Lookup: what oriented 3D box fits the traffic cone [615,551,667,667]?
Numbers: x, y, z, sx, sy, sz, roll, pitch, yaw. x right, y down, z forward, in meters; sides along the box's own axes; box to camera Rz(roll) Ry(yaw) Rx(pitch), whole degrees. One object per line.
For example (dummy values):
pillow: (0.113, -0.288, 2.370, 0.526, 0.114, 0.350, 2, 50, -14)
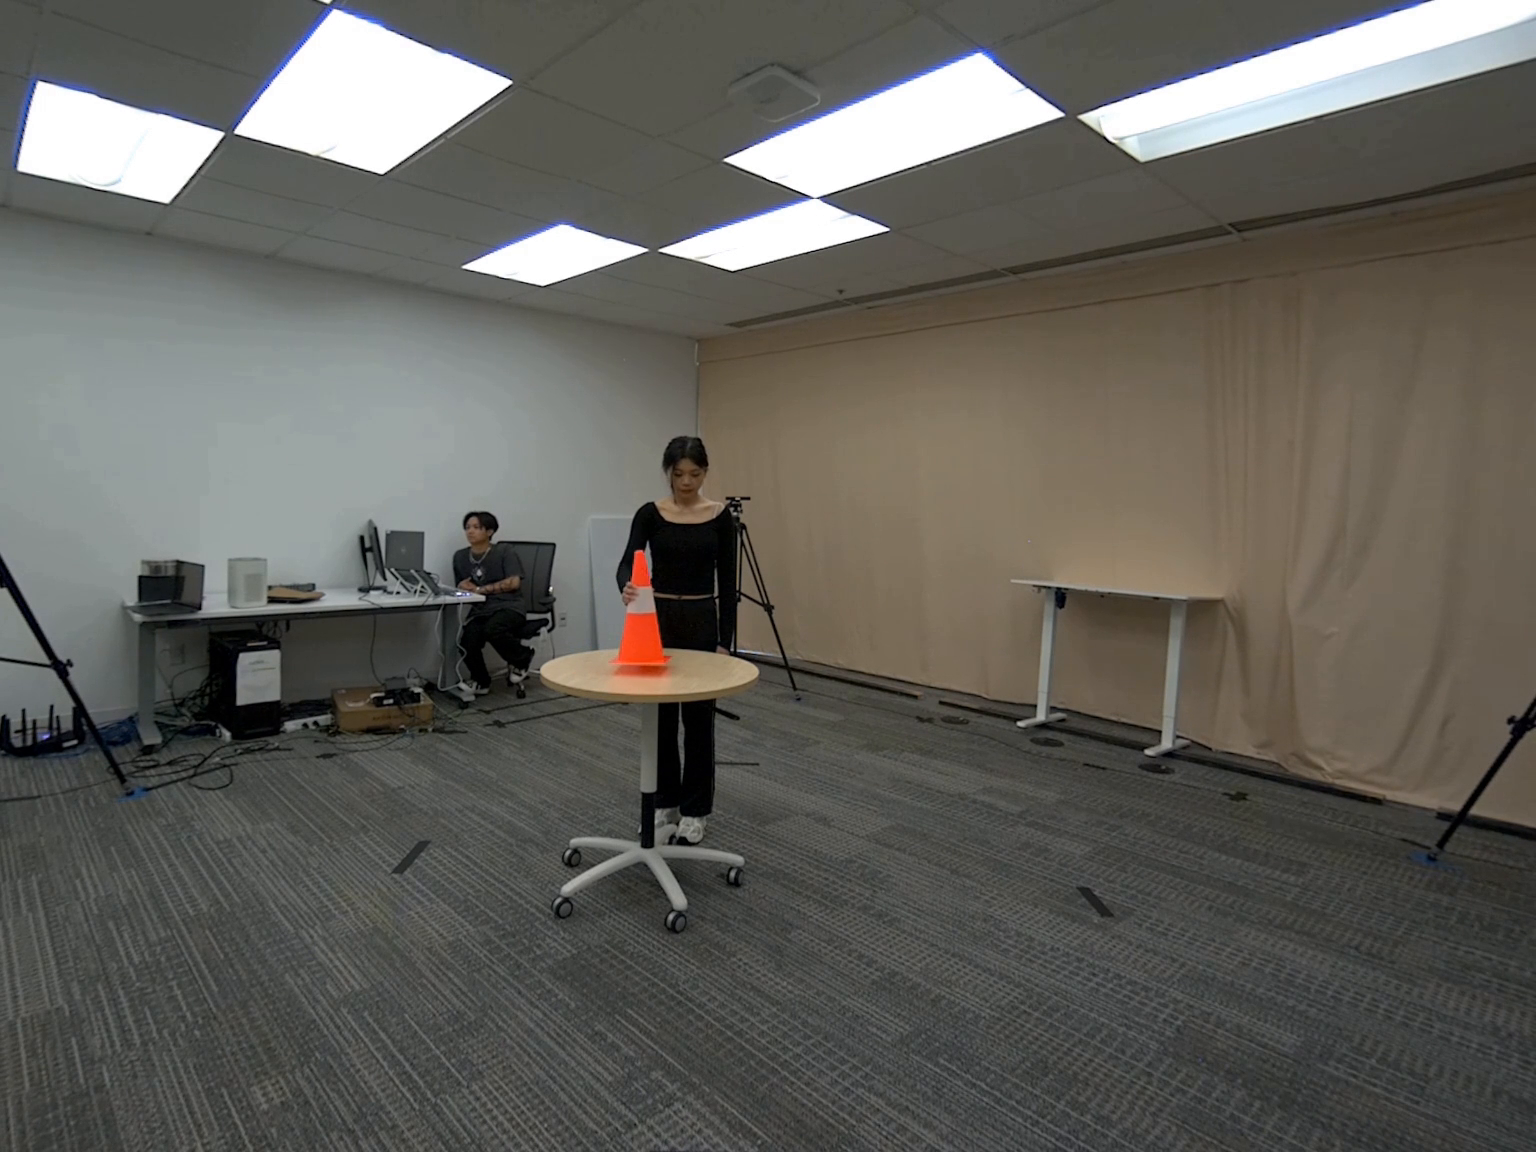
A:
traffic cone: (-0.458, 0.107, 2.932, 0.206, 0.383, 0.203, -2, 2, 4)
